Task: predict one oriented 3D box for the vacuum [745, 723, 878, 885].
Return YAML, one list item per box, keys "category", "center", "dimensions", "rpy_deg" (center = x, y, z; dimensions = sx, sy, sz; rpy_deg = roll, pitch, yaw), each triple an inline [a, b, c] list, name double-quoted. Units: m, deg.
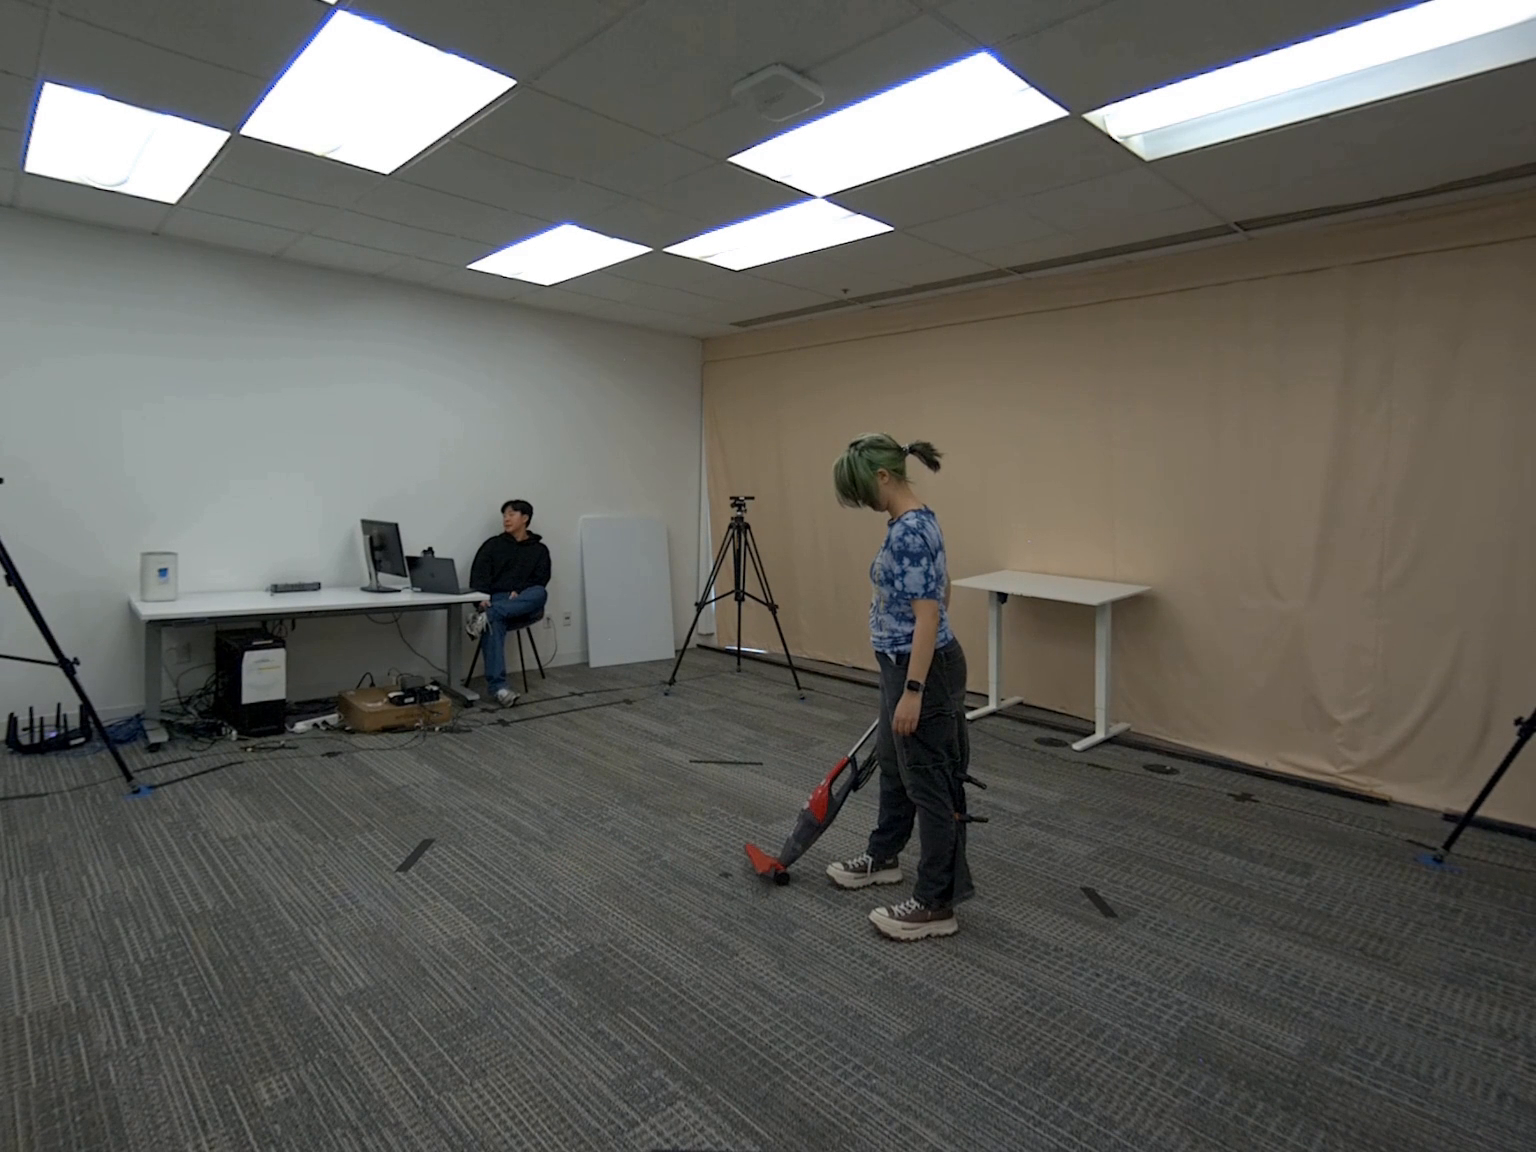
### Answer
- category: "vacuum"
  center: [0.330, 0.696, 3.123]
  dimensions: [0.142, 1.049, 0.255]
  rpy_deg: [43, -5, -10]
